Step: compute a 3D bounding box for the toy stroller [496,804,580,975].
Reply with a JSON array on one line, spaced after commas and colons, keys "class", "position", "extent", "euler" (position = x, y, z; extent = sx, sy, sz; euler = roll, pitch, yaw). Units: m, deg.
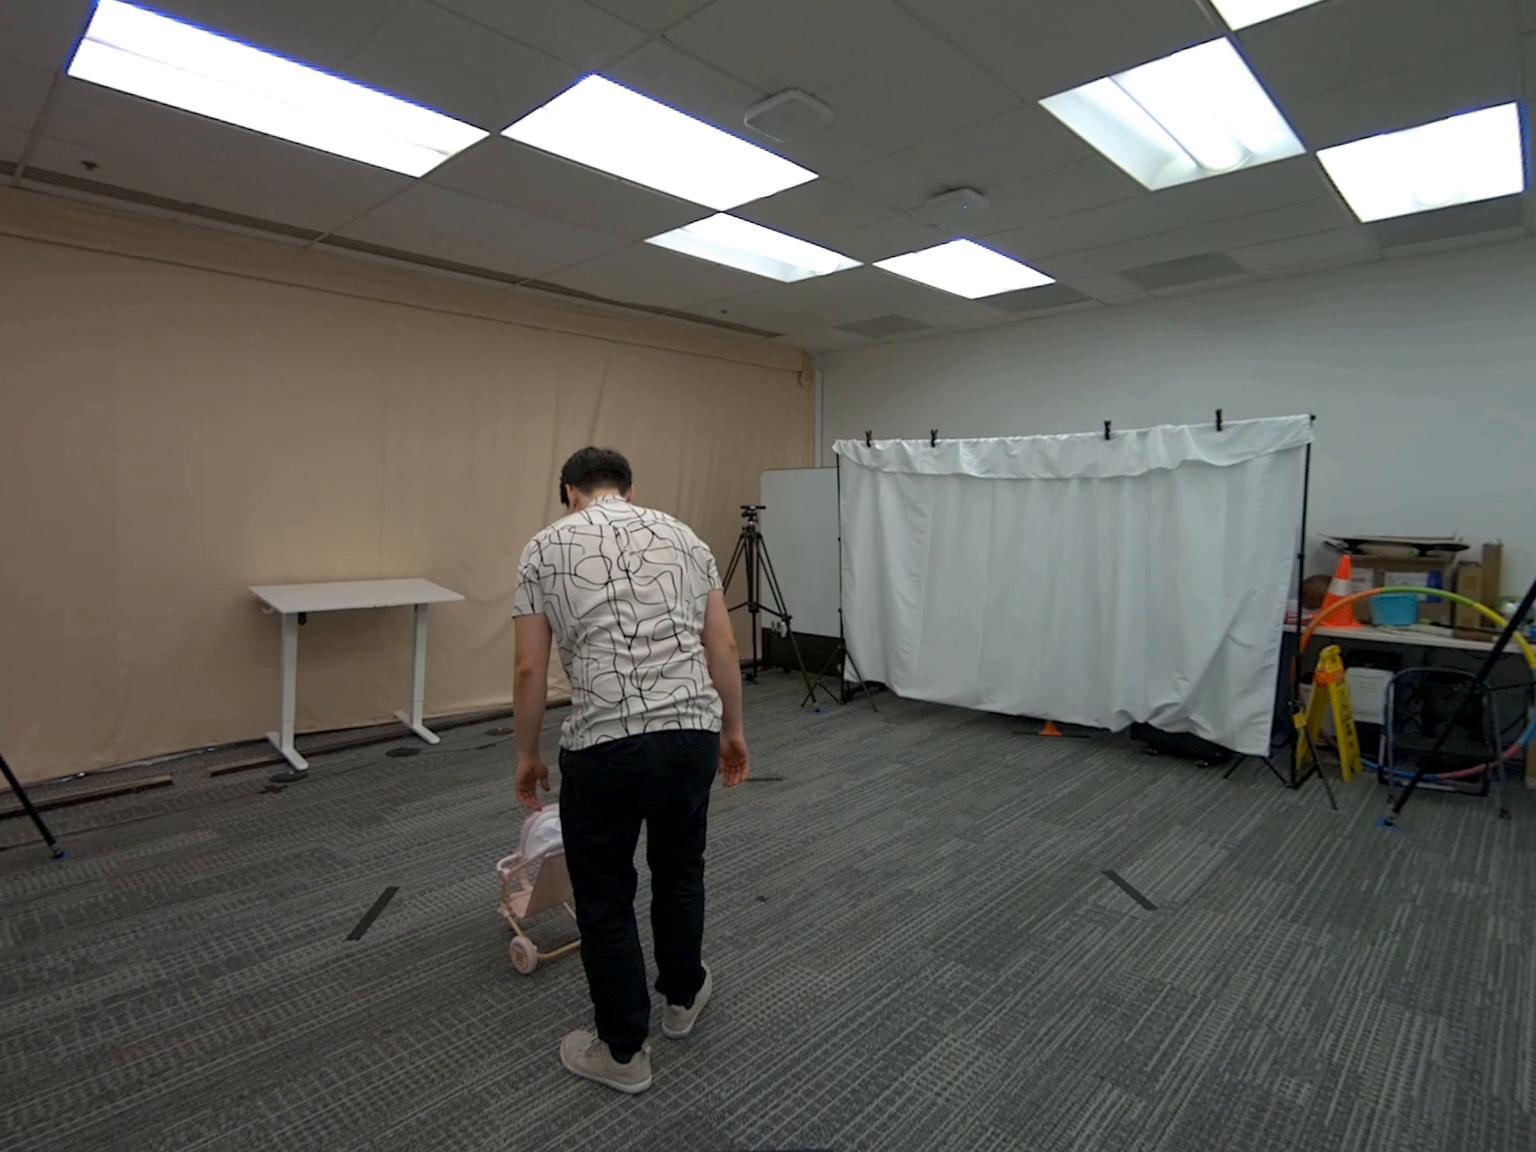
[{"class": "toy stroller", "position": [-0.698, 0.953, 2.641], "extent": [0.273, 0.532, 0.354], "euler": [-2, 20, -43]}]
